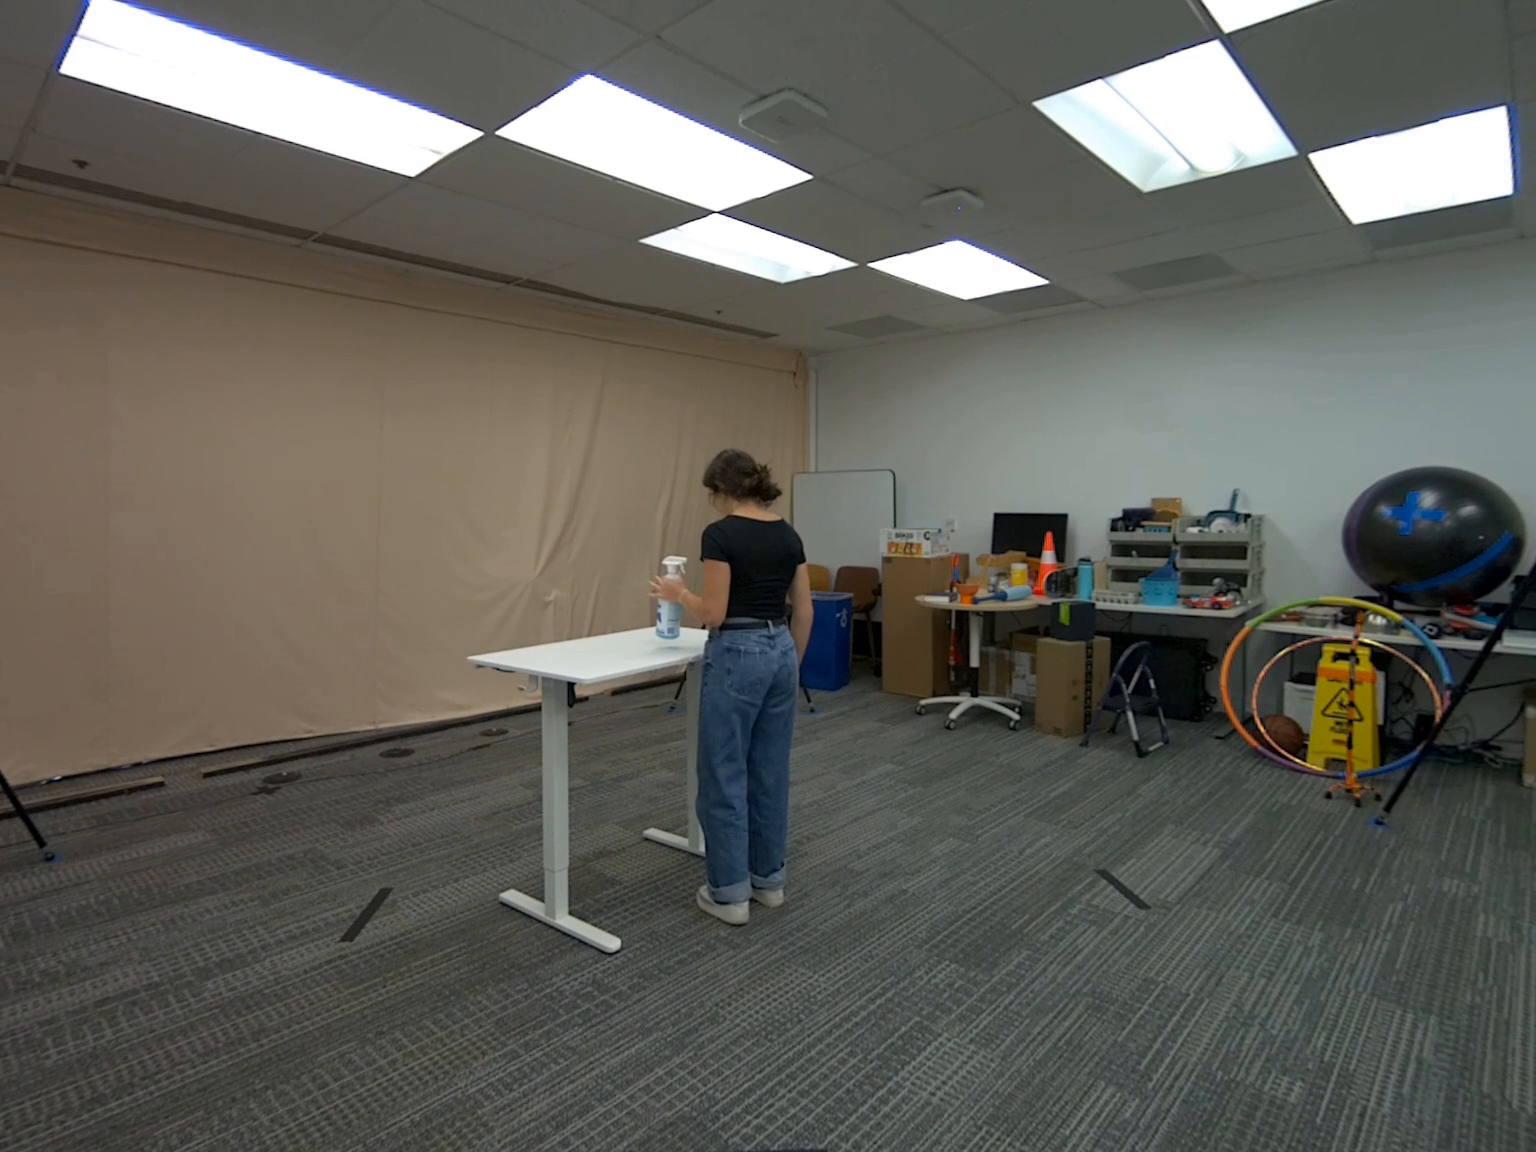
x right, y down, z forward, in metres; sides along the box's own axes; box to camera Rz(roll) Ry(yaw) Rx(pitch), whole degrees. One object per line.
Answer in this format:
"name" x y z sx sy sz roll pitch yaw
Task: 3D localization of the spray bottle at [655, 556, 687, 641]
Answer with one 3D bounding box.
"spray bottle" -0.345 0.076 3.011 0.093 0.295 0.084 18 16 41
